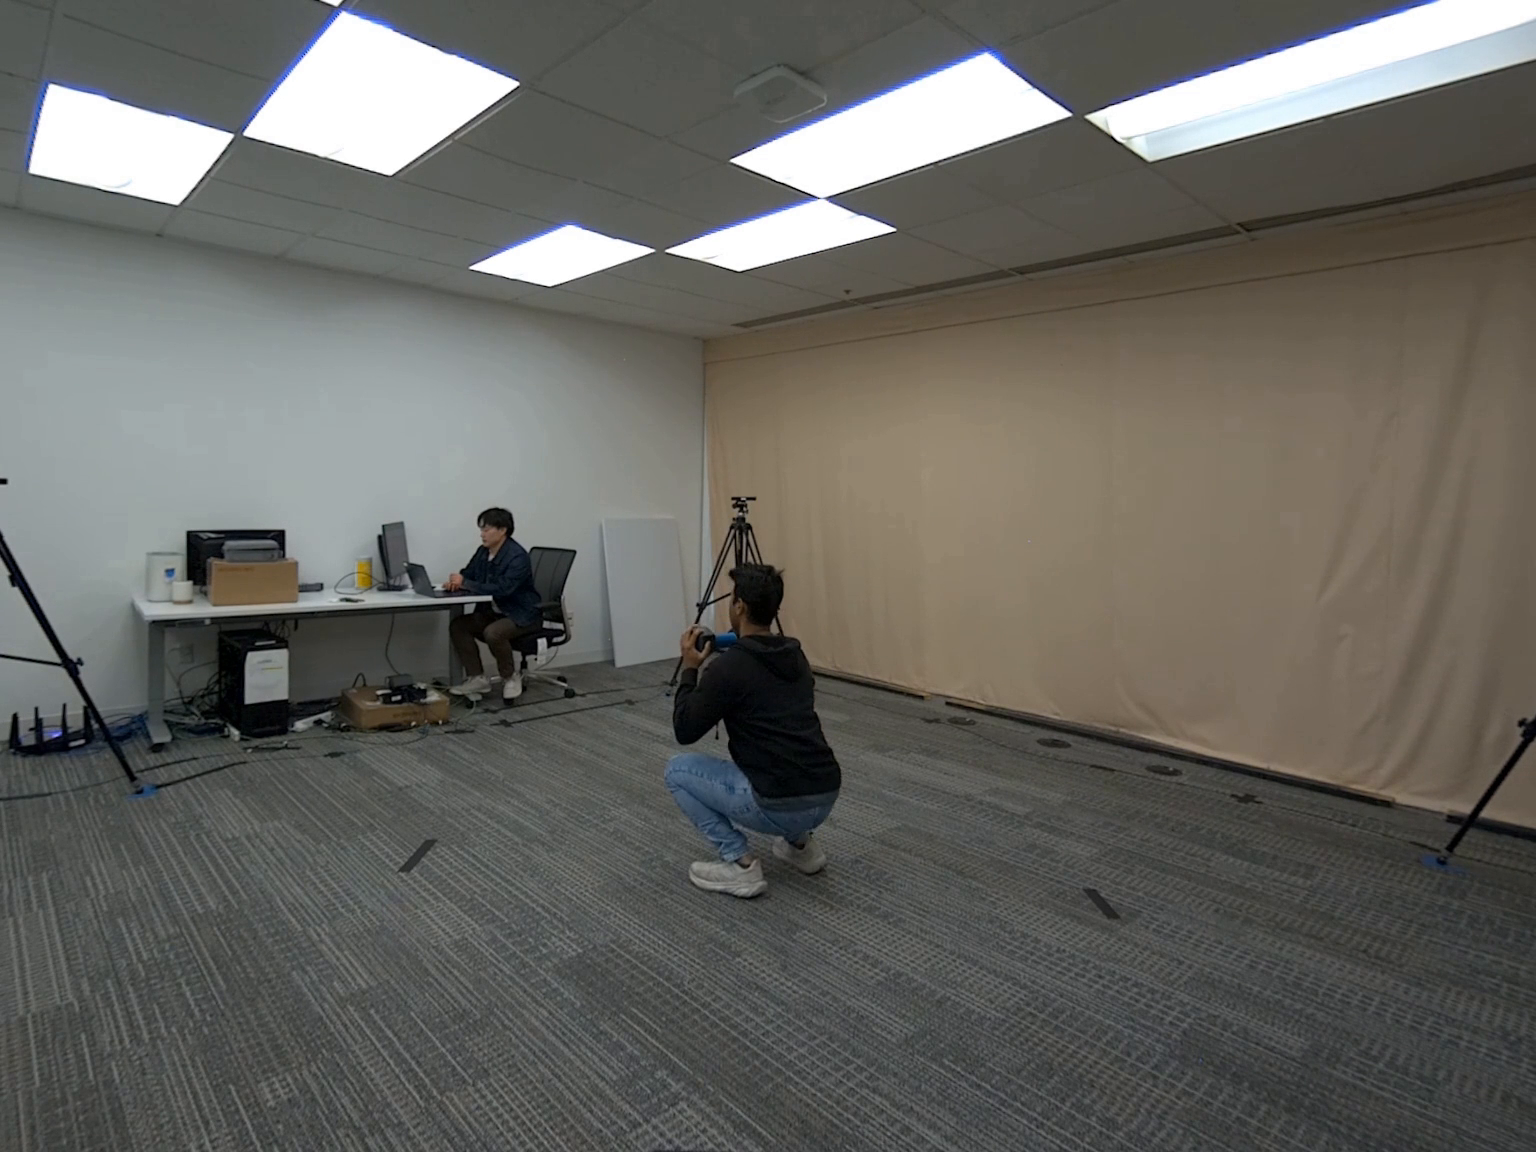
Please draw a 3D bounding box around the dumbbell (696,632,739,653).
[{"bbox_3d":[-0.181,0.250,3.293,0.287,0.123,0.111,-2,2,-40],"label":"dumbbell"}]
